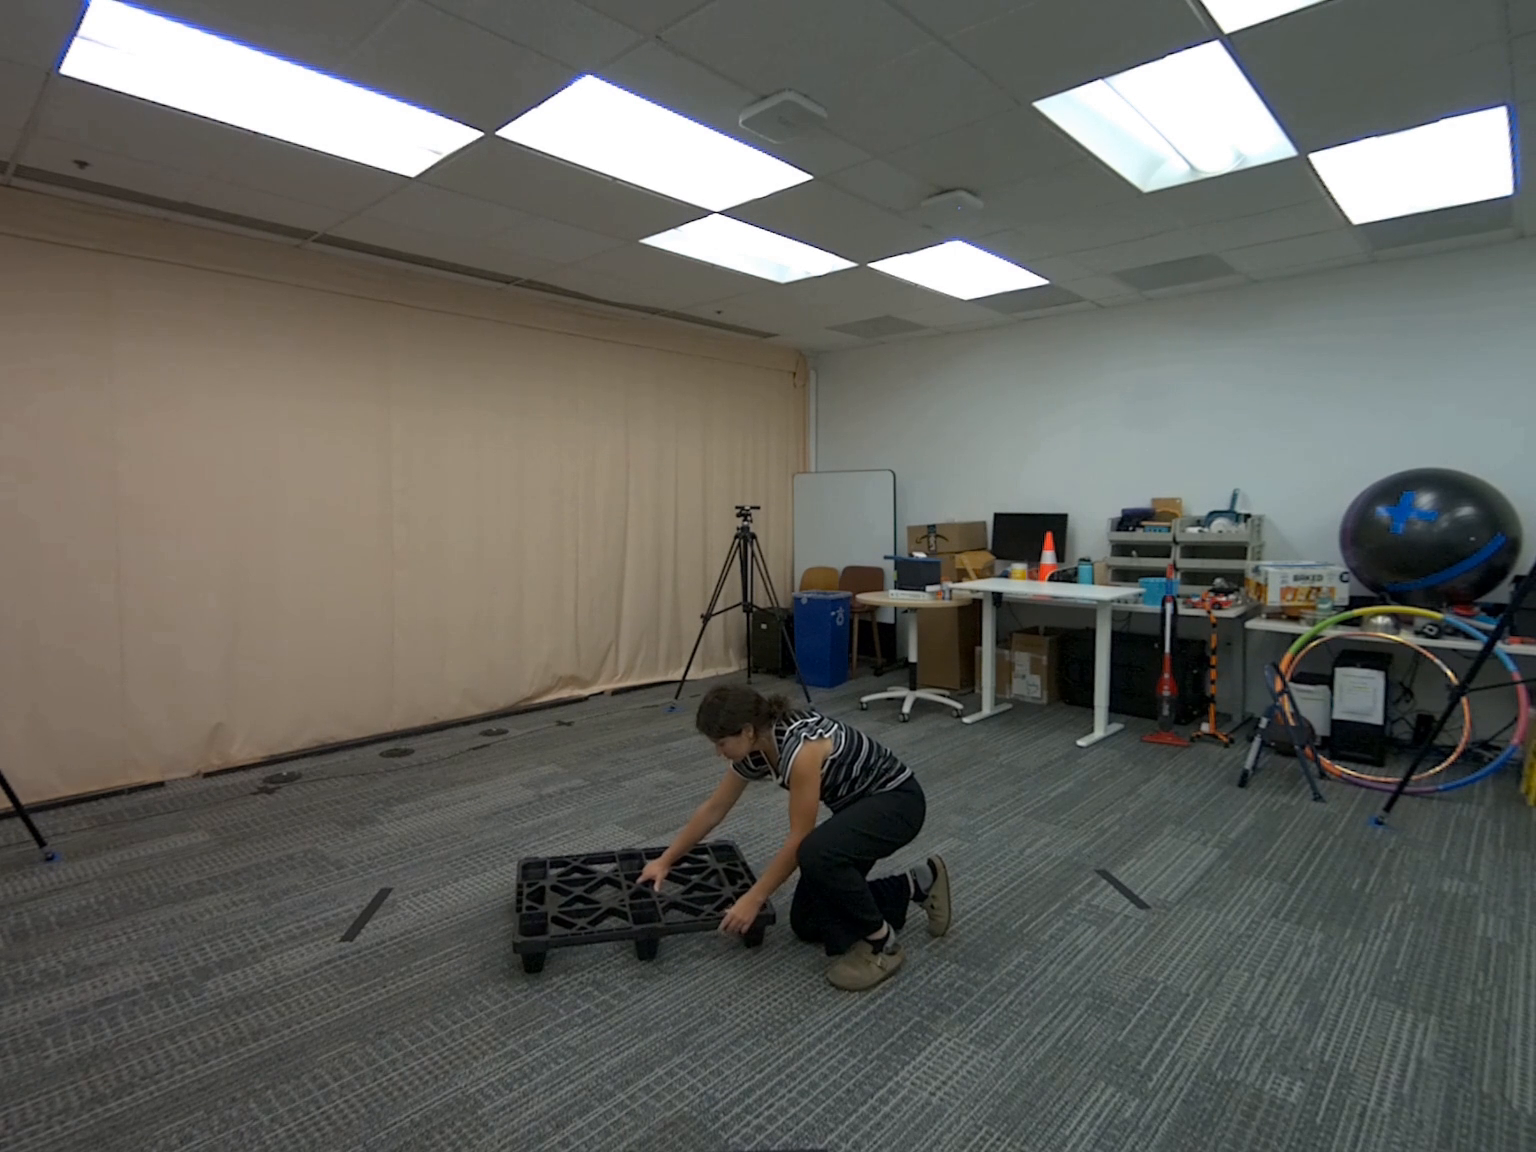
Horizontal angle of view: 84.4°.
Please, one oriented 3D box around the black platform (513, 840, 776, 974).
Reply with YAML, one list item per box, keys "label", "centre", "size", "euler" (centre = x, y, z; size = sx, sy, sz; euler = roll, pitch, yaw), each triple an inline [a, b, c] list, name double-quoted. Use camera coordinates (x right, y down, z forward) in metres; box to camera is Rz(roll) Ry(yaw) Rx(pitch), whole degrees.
- label: "black platform"
  centre: [-0.435, 1.093, 2.810]
  size: [0.795, 0.143, 0.614]
  euler: [-1, 4, -13]
